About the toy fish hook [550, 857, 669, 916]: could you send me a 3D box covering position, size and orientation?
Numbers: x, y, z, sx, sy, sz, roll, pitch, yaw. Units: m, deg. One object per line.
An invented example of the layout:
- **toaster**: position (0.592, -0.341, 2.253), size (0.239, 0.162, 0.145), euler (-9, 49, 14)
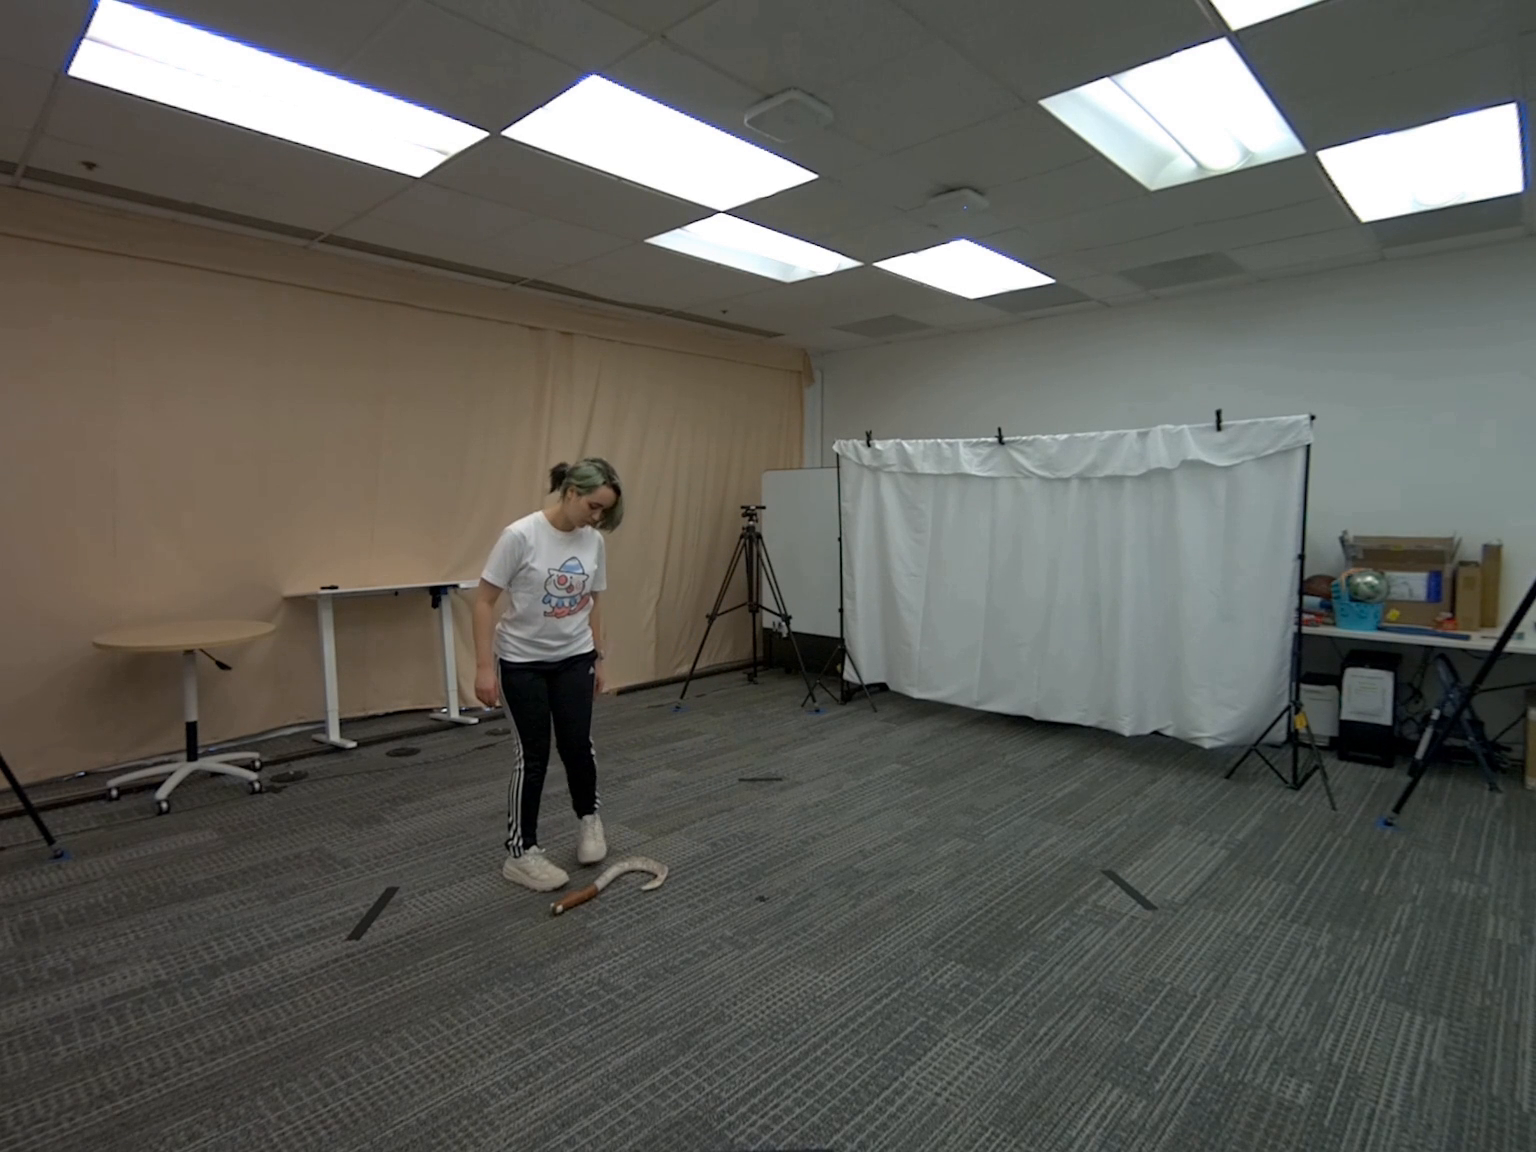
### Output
- **toy fish hook**: position (-0.557, 1.124, 3.034), size (0.231, 0.048, 0.492), euler (1, 5, 33)
